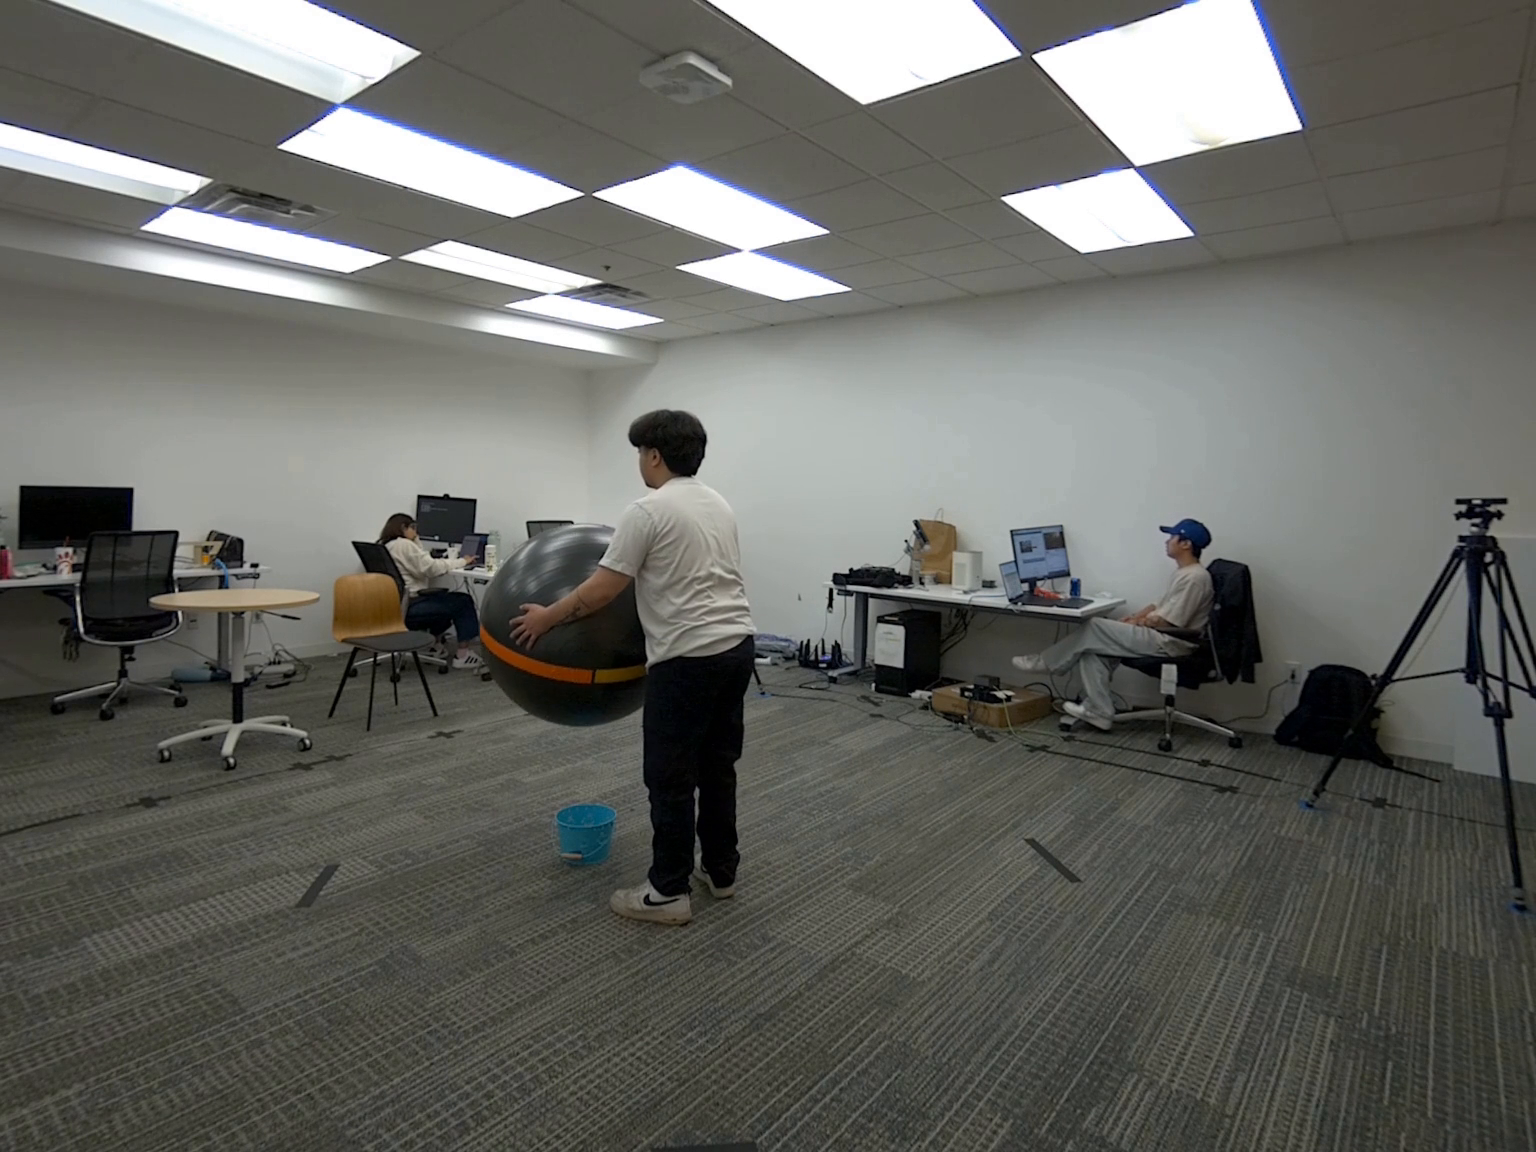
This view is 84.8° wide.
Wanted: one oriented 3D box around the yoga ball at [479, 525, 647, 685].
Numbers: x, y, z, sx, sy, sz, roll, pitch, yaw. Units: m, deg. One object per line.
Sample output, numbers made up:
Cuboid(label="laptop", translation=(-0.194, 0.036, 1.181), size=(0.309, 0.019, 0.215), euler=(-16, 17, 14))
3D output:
Cuboid(label="yoga ball", translation=(-0.711, 0.193, 3.213), size=(0.757, 0.755, 0.762), euler=(1, 4, -2))
